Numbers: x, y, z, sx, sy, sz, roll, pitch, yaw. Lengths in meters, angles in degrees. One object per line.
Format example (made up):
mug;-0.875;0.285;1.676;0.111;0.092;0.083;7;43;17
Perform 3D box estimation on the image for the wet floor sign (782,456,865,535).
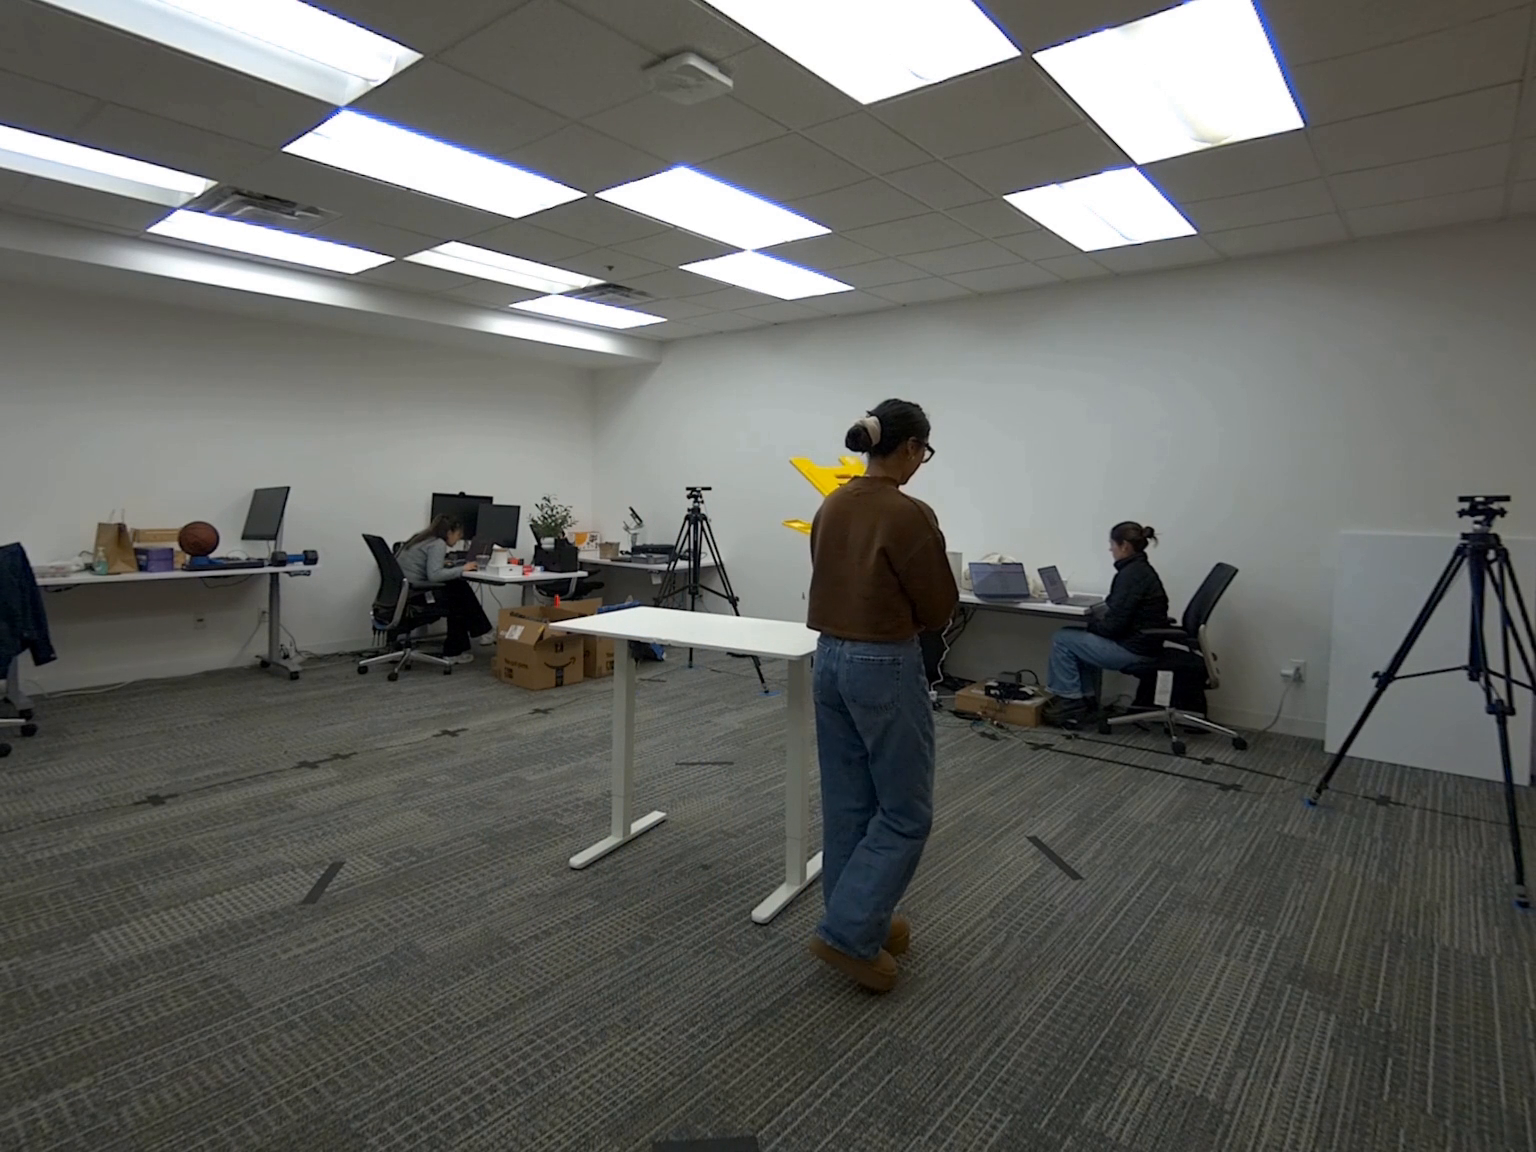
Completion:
wet floor sign;0.327;-0.180;2.871;0.276;0.284;0.672;-8;26;-25
